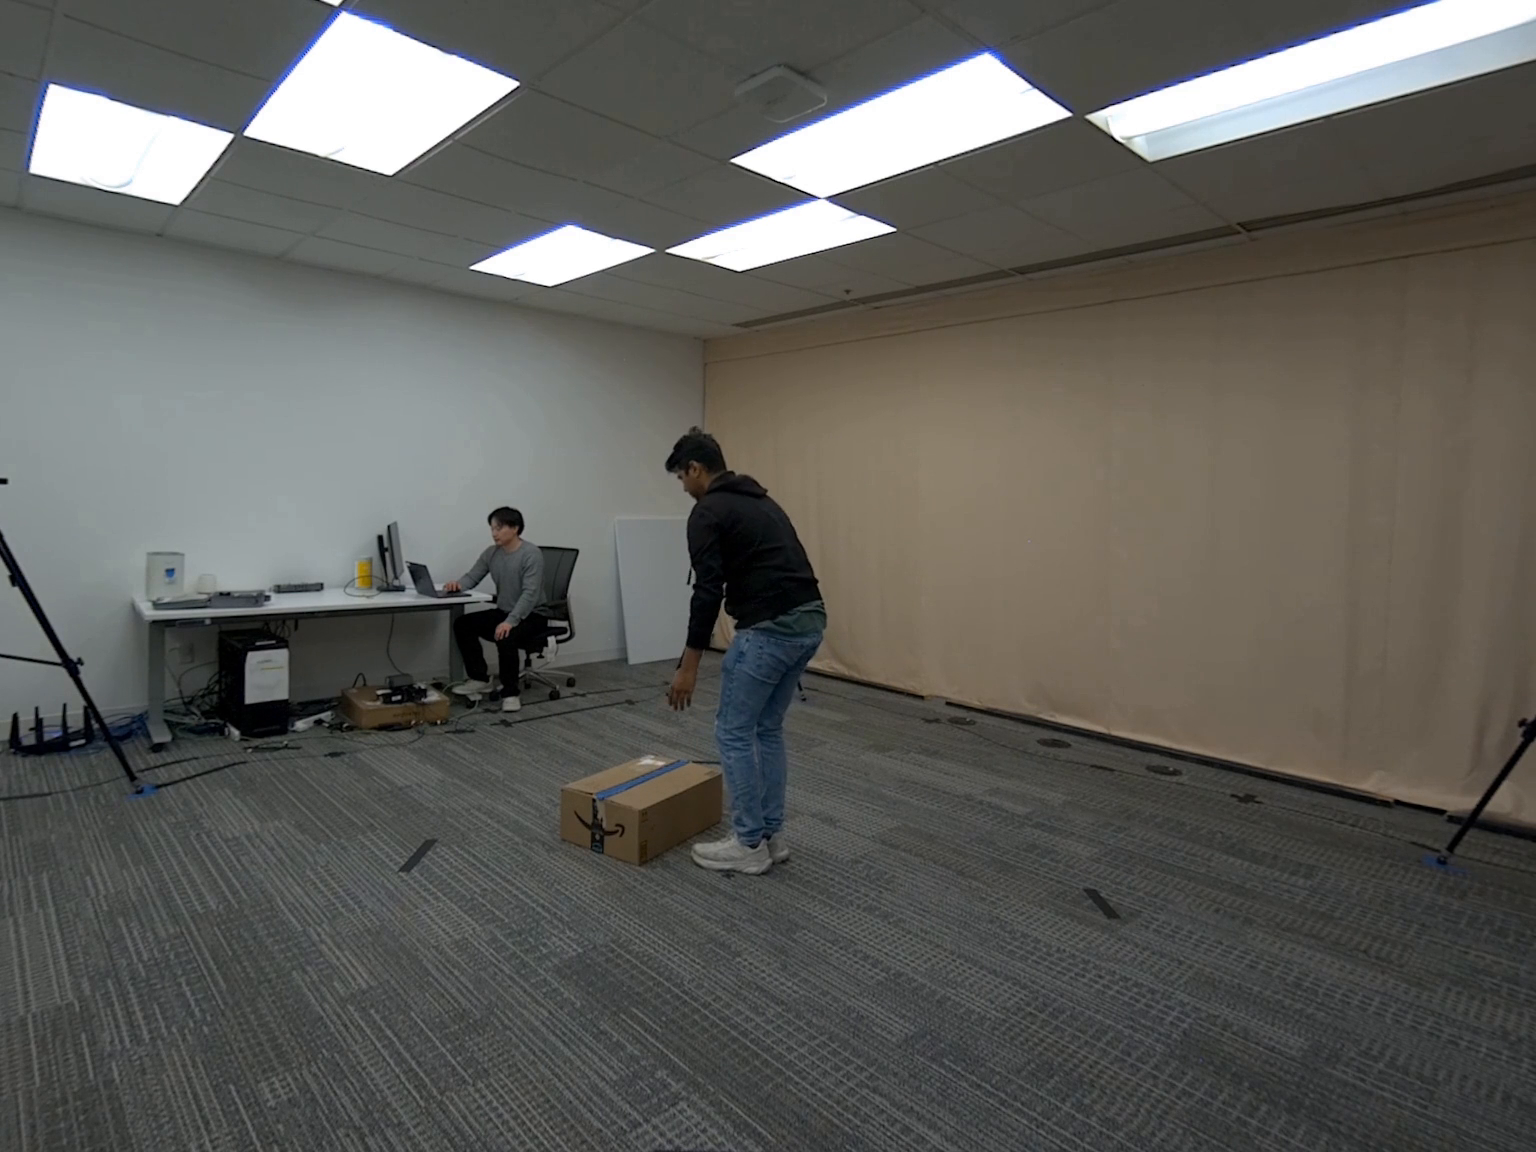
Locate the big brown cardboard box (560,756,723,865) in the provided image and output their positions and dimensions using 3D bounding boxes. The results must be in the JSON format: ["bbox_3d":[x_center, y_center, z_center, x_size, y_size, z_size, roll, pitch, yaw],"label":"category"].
[{"bbox_3d":[-0.518,0.950,3.512,0.427,0.232,0.577,4,6,31],"label":"big brown cardboard box"}]
